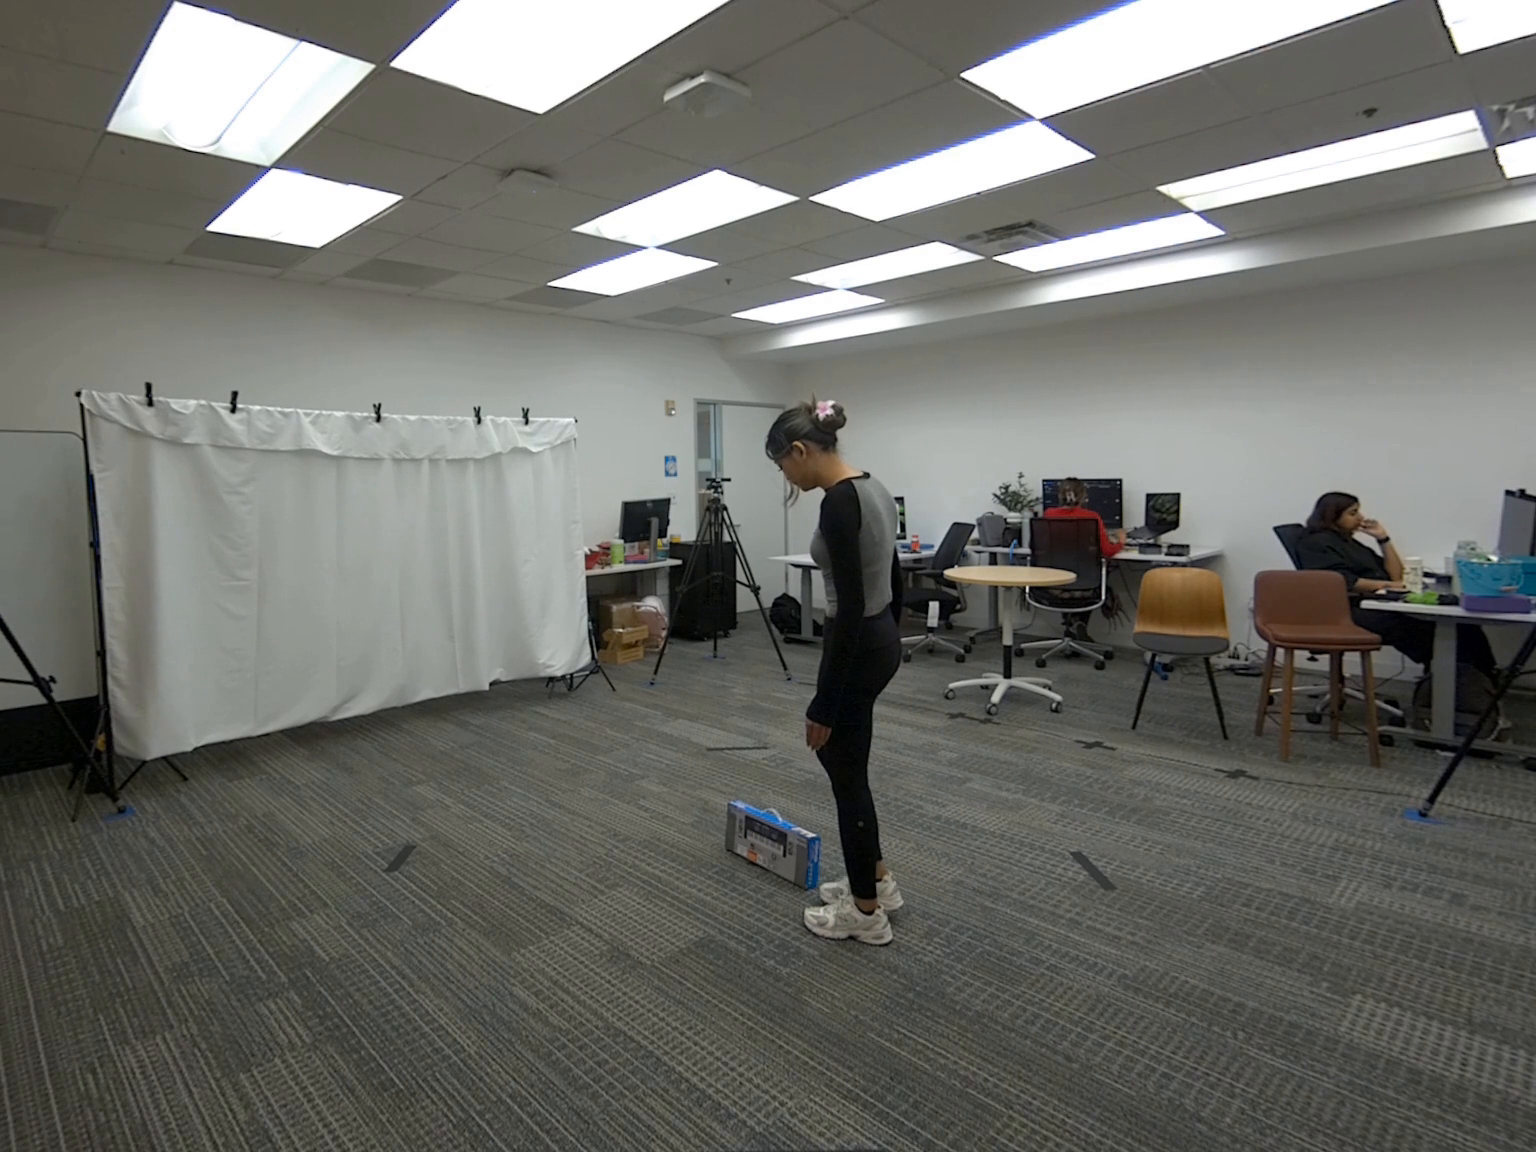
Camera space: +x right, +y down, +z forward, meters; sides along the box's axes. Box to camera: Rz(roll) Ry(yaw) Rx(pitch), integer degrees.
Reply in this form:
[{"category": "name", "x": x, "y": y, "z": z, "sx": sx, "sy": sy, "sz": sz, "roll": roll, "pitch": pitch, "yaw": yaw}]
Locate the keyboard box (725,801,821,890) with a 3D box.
[{"category": "keyboard box", "x": 0.010, "y": 0.959, "z": 3.070, "sx": 0.057, "sy": 0.176, "sz": 0.450, "roll": 4, "pitch": 1, "yaw": -41}]
